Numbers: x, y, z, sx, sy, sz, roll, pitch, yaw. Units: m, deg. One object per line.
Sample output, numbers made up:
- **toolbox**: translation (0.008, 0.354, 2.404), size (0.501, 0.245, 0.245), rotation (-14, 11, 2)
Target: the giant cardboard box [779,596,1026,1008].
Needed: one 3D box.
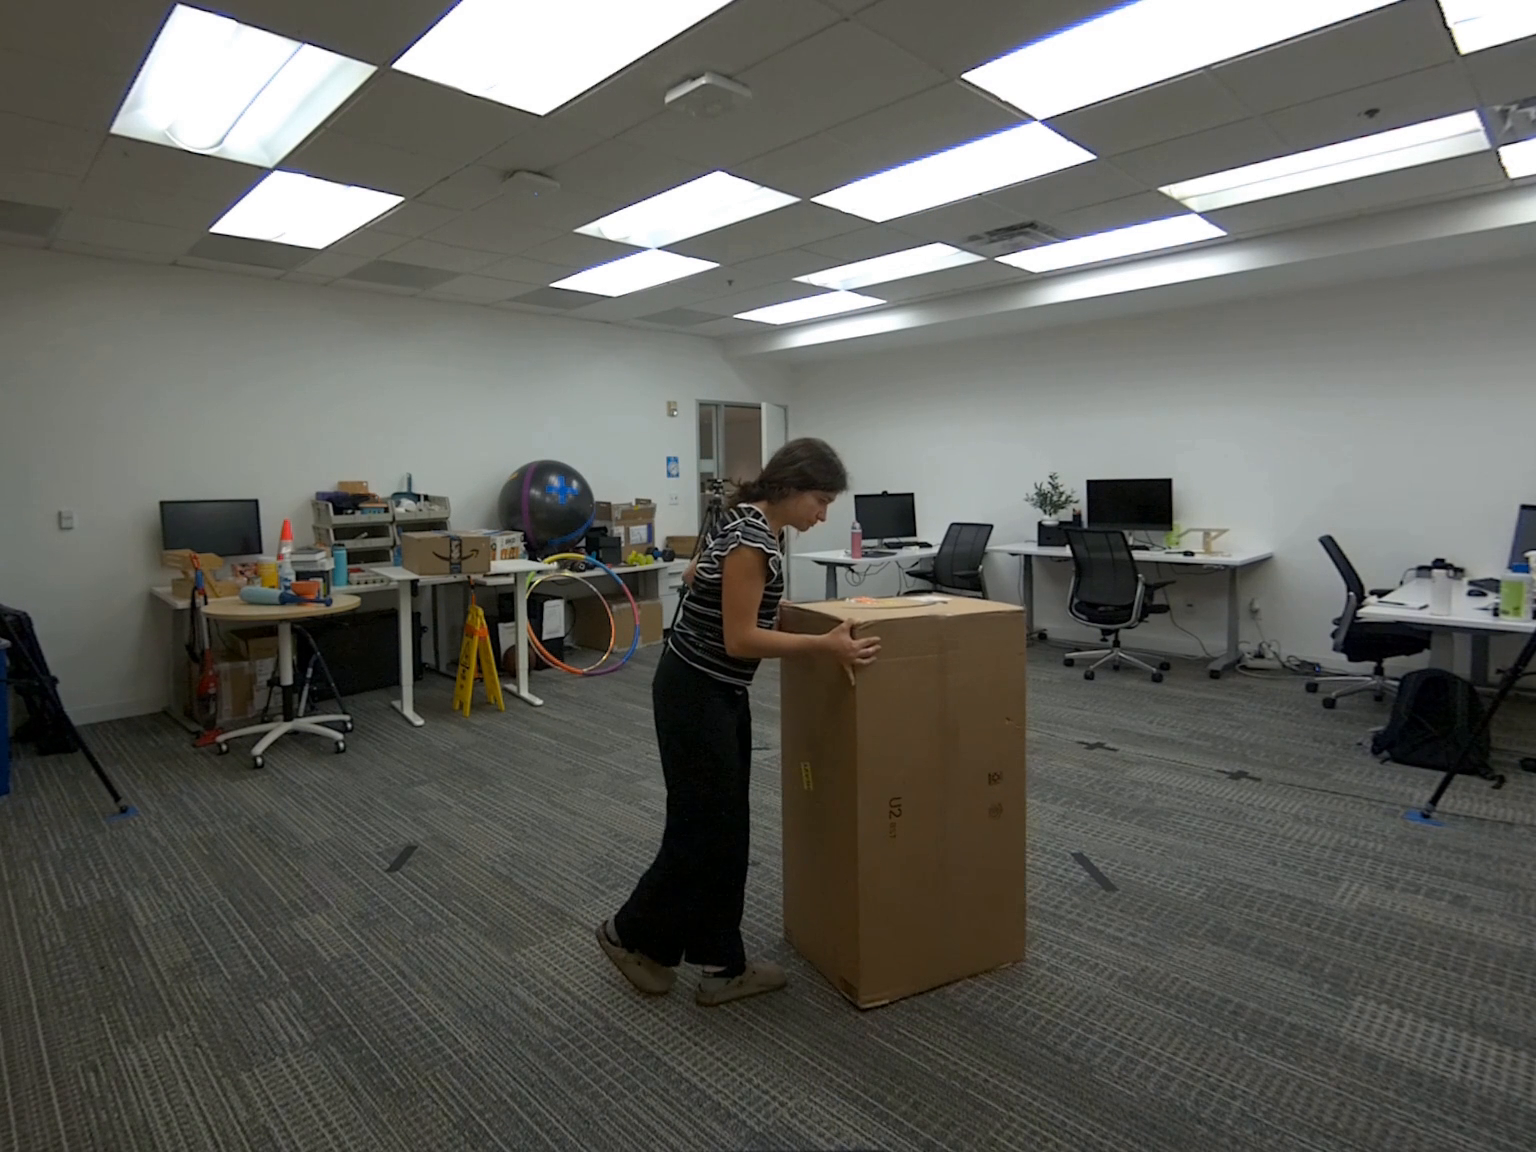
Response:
- **giant cardboard box**: translation (0.395, 0.600, 2.516), size (0.565, 1.023, 0.436), rotation (-2, 3, -26)
